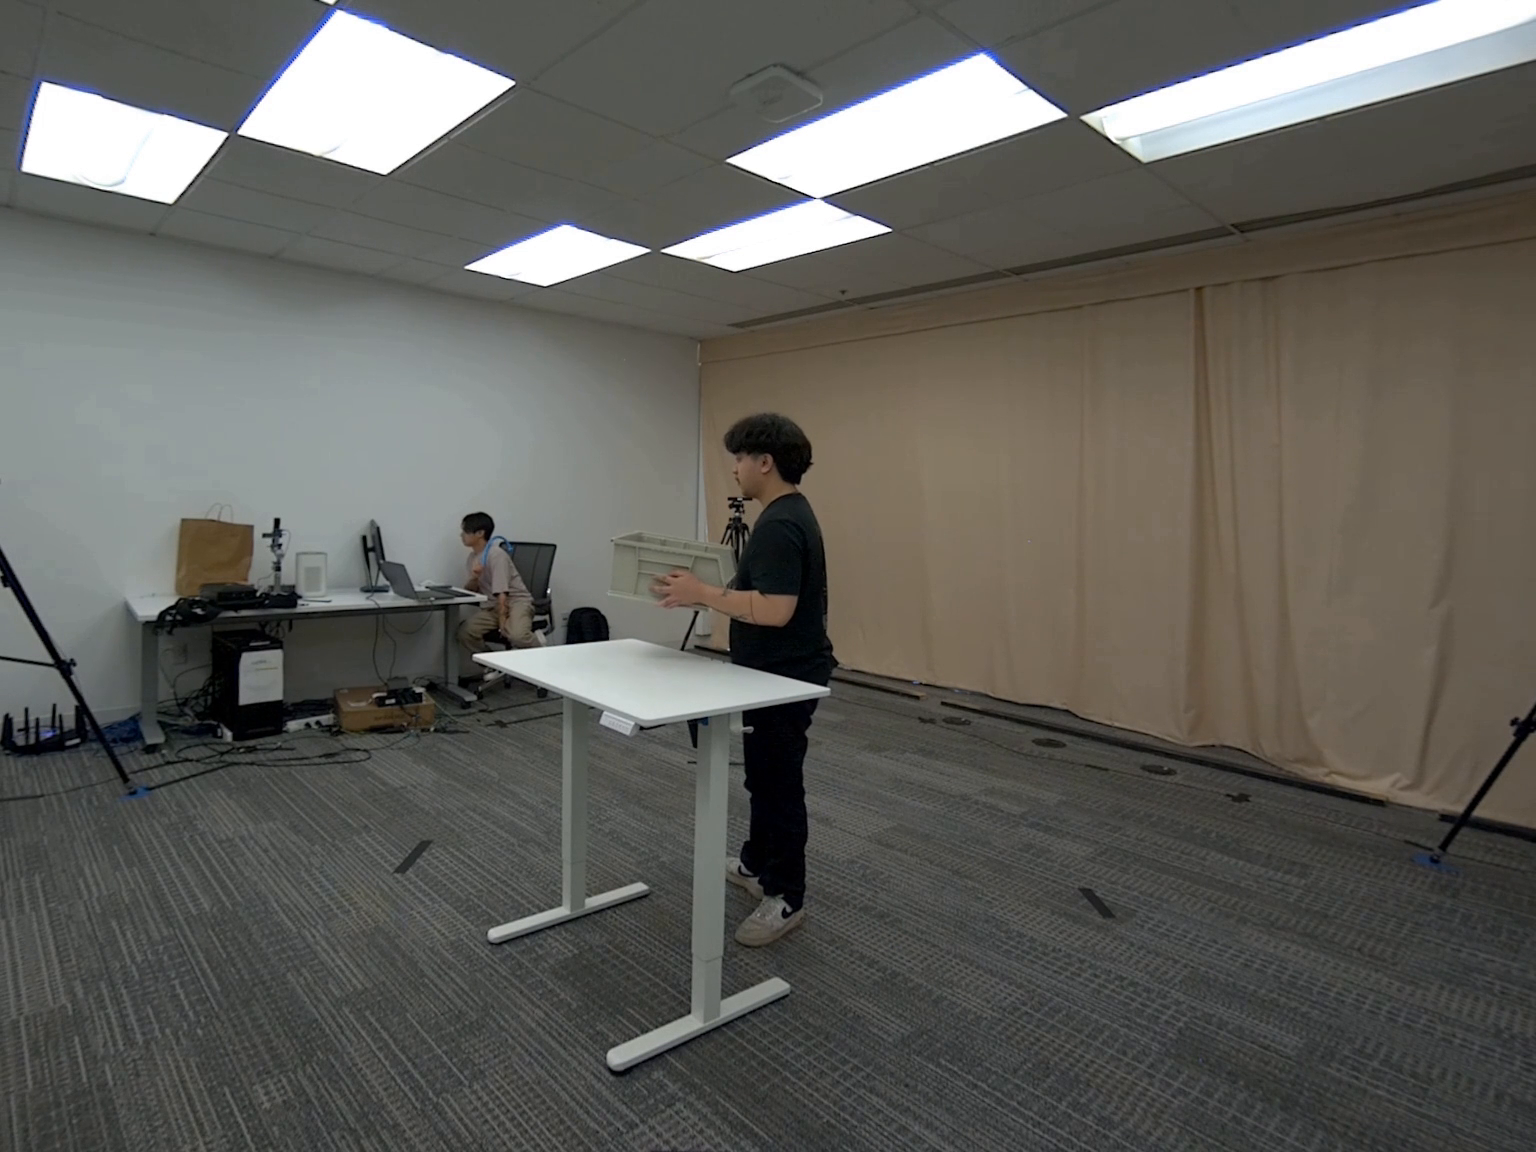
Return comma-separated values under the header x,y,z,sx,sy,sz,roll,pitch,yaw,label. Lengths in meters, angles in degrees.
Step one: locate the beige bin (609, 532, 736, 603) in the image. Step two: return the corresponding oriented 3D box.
x,y,z,sx,sy,sz,roll,pitch,yaw,label
-0.309,-0.019,2.780,0.380,0.188,0.421,7,7,6,beige bin
